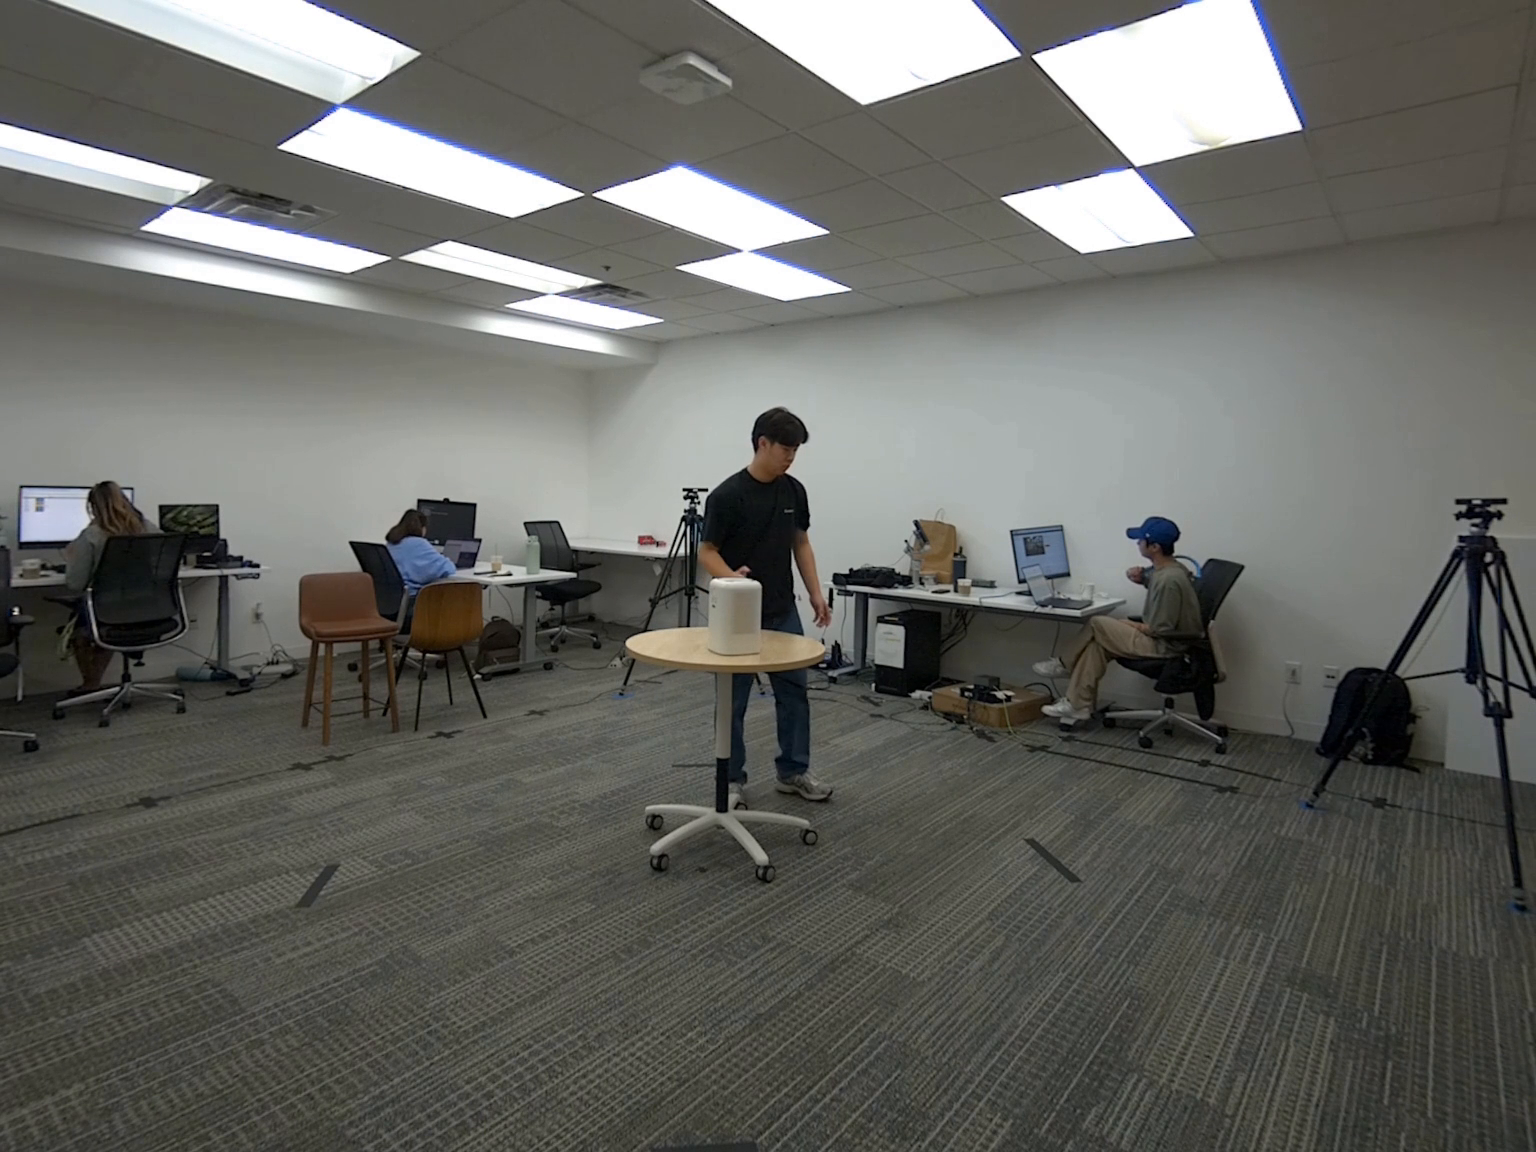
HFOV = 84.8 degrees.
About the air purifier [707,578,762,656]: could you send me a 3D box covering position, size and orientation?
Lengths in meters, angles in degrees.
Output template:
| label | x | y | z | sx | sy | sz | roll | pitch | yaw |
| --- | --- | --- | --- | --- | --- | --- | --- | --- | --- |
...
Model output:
| label | x | y | z | sx | sy | sz | roll | pitch | yaw |
| --- | --- | --- | --- | --- | --- | --- | --- | --- | --- |
| air purifier | -0.138 | 0.141 | 3.132 | 0.168 | 0.264 | 0.175 | 1 | 5 | -23 |
